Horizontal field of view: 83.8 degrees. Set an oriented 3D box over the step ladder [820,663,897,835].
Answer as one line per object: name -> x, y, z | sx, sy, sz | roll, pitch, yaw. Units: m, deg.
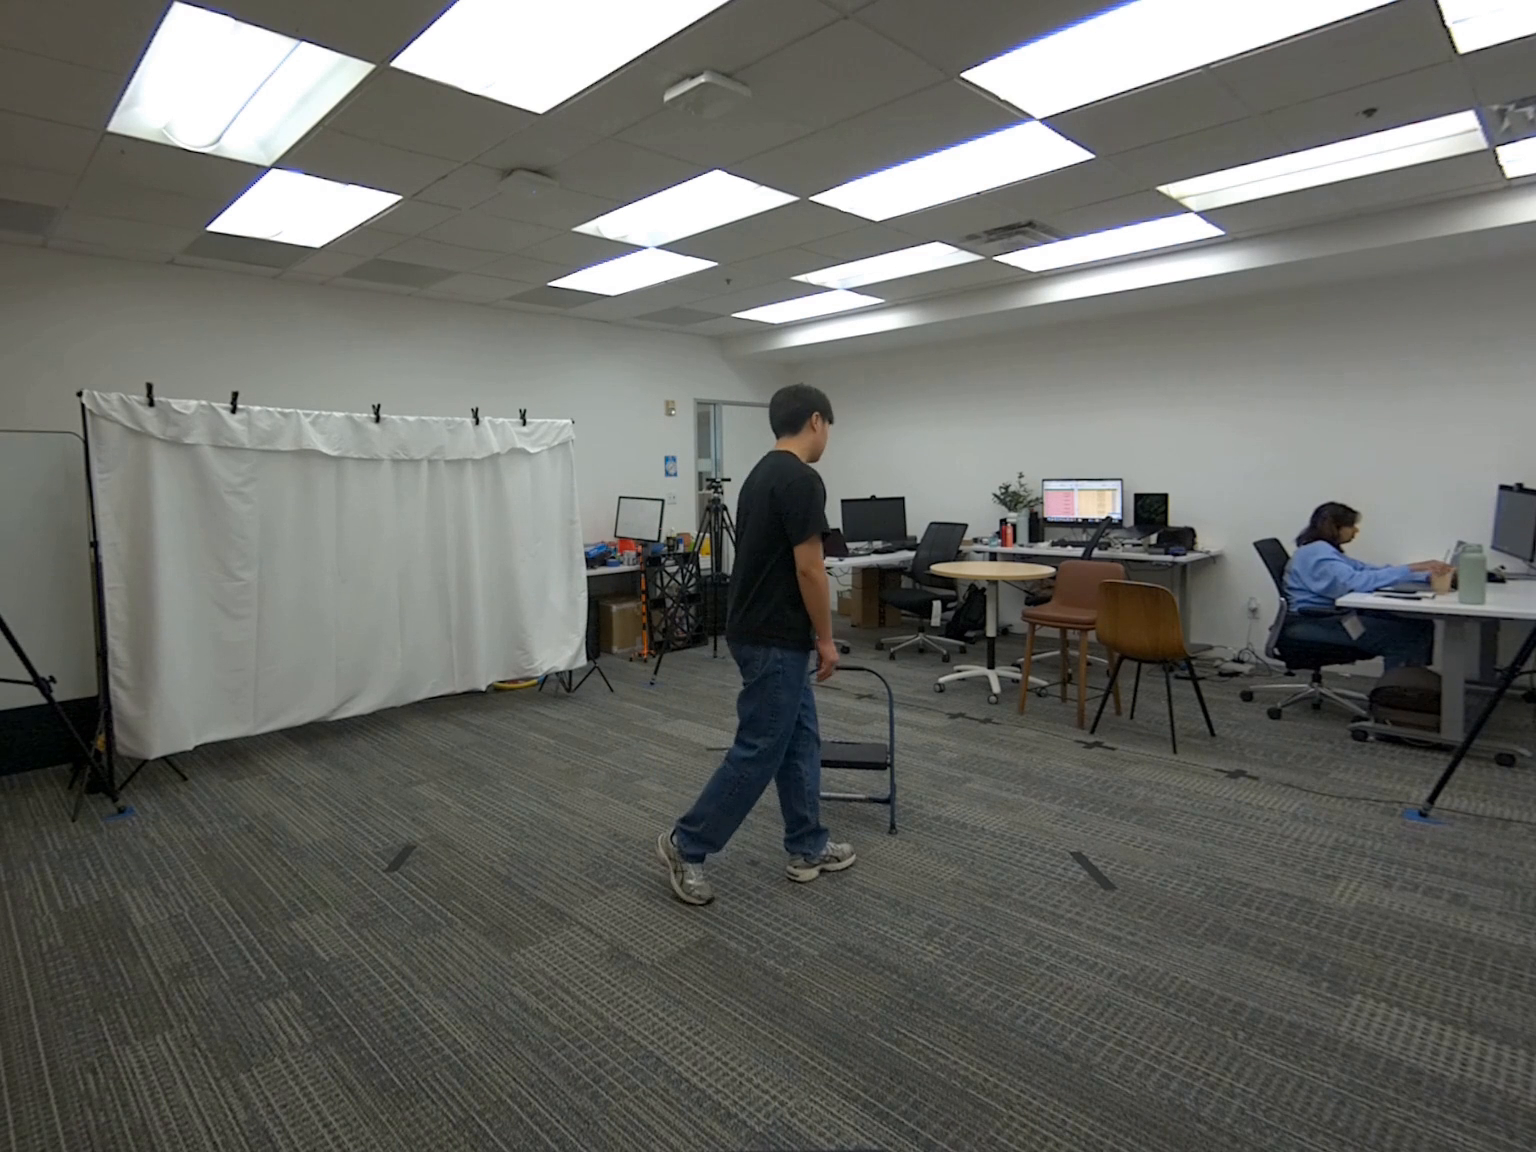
step ladder -> 0.318, 0.688, 3.529 | 0.435, 0.604, 0.347 | 0, 4, 9
